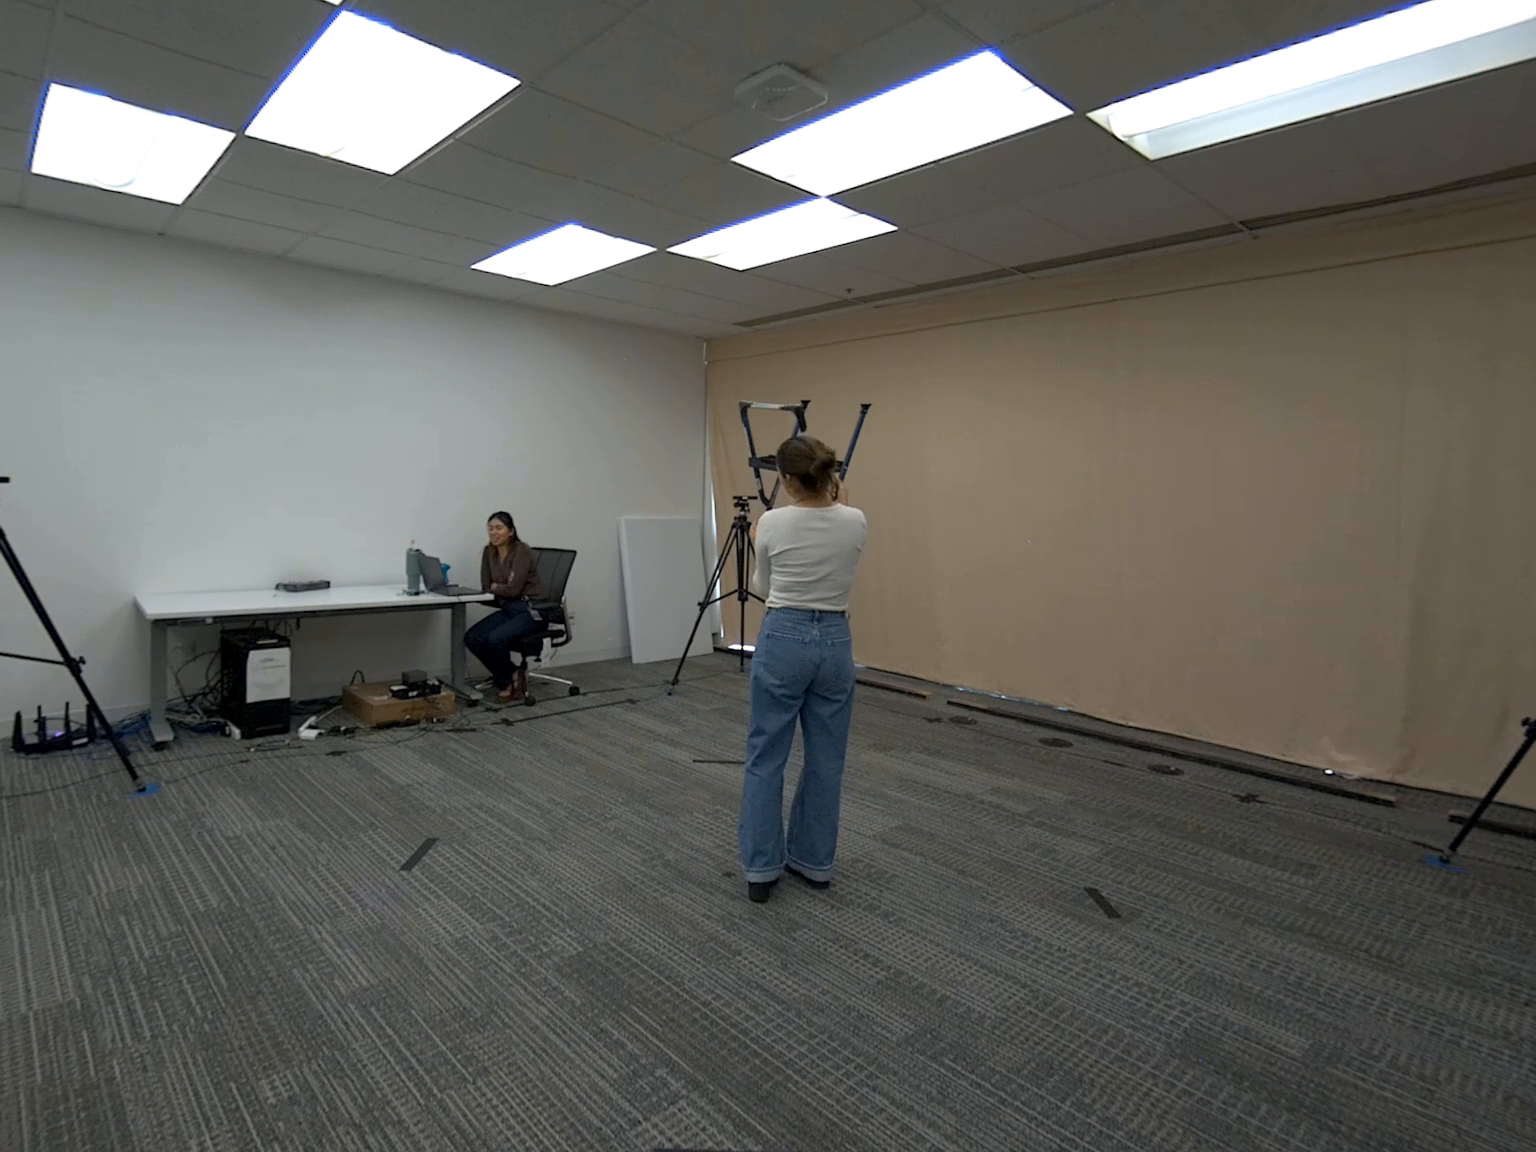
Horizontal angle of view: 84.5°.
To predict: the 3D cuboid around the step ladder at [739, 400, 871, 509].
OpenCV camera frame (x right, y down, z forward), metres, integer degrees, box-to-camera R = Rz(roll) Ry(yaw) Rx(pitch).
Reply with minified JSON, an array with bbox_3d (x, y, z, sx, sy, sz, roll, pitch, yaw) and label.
[{"bbox_3d":[0.125,-0.383,3.354,0.343,0.601,0.442,-6,13,-31],"label":"step ladder"}]
